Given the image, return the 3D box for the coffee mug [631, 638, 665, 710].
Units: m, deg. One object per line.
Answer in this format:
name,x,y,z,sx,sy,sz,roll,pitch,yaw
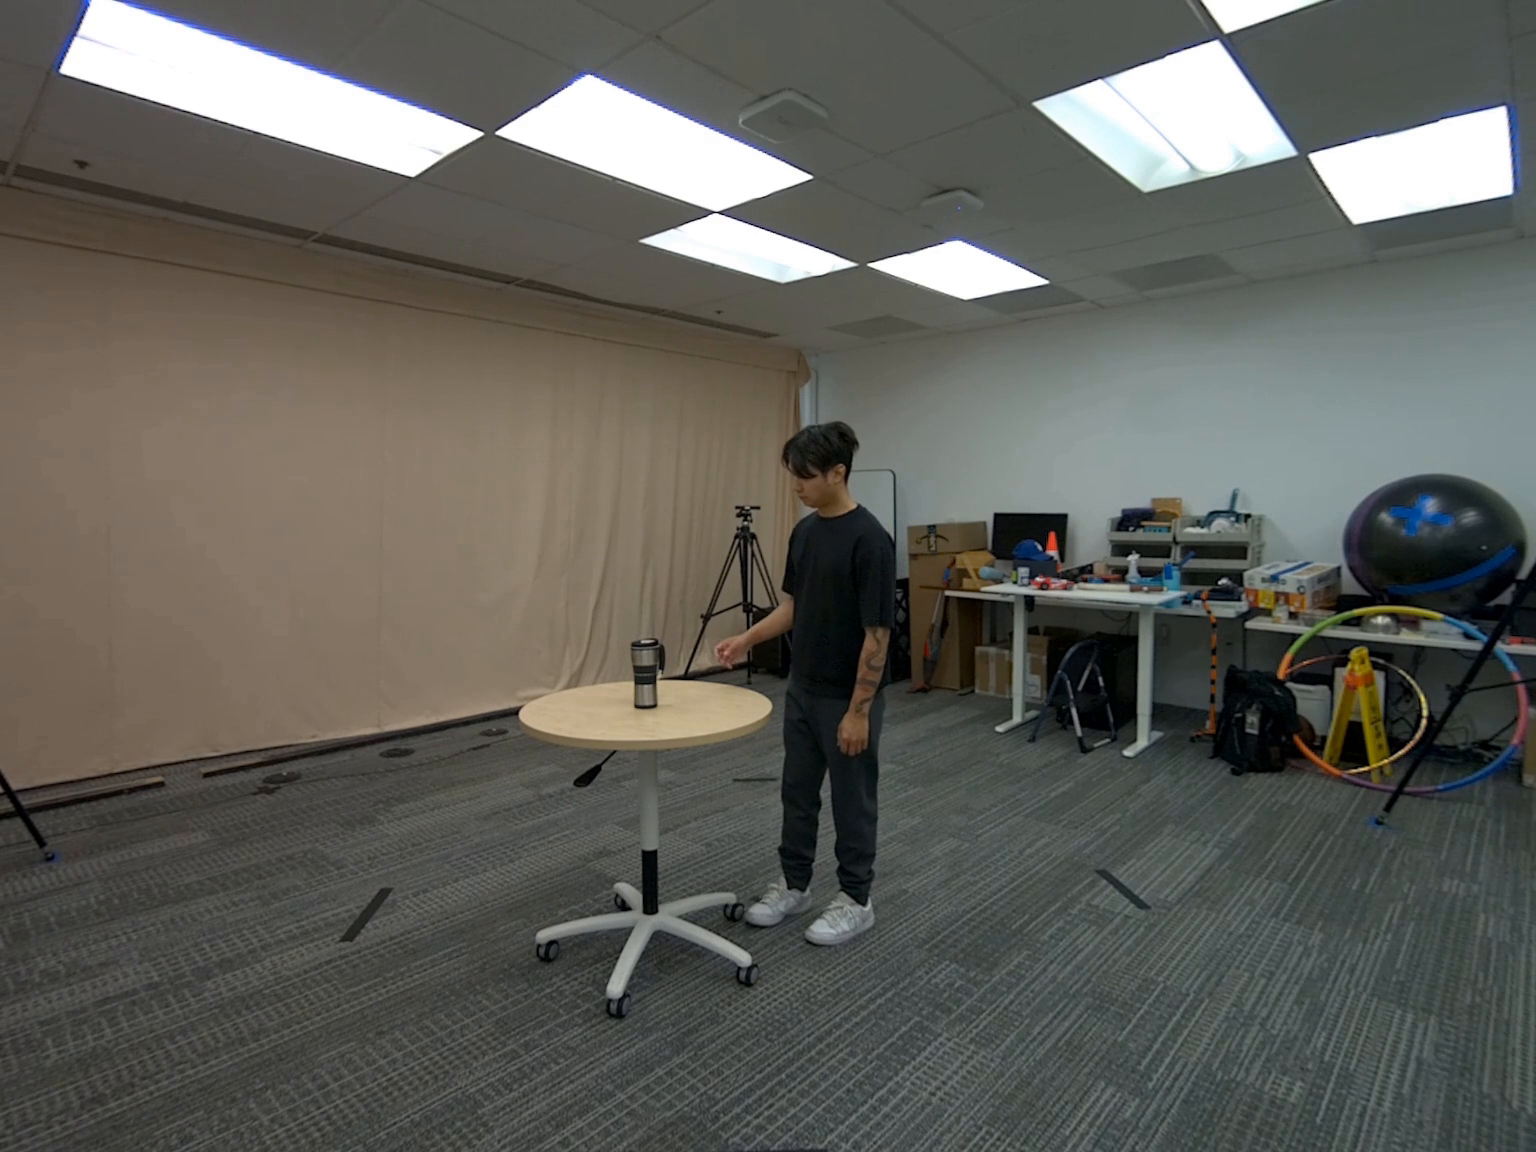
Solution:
coffee mug,-0.355,0.297,2.573,0.119,0.203,0.090,-5,0,-32
